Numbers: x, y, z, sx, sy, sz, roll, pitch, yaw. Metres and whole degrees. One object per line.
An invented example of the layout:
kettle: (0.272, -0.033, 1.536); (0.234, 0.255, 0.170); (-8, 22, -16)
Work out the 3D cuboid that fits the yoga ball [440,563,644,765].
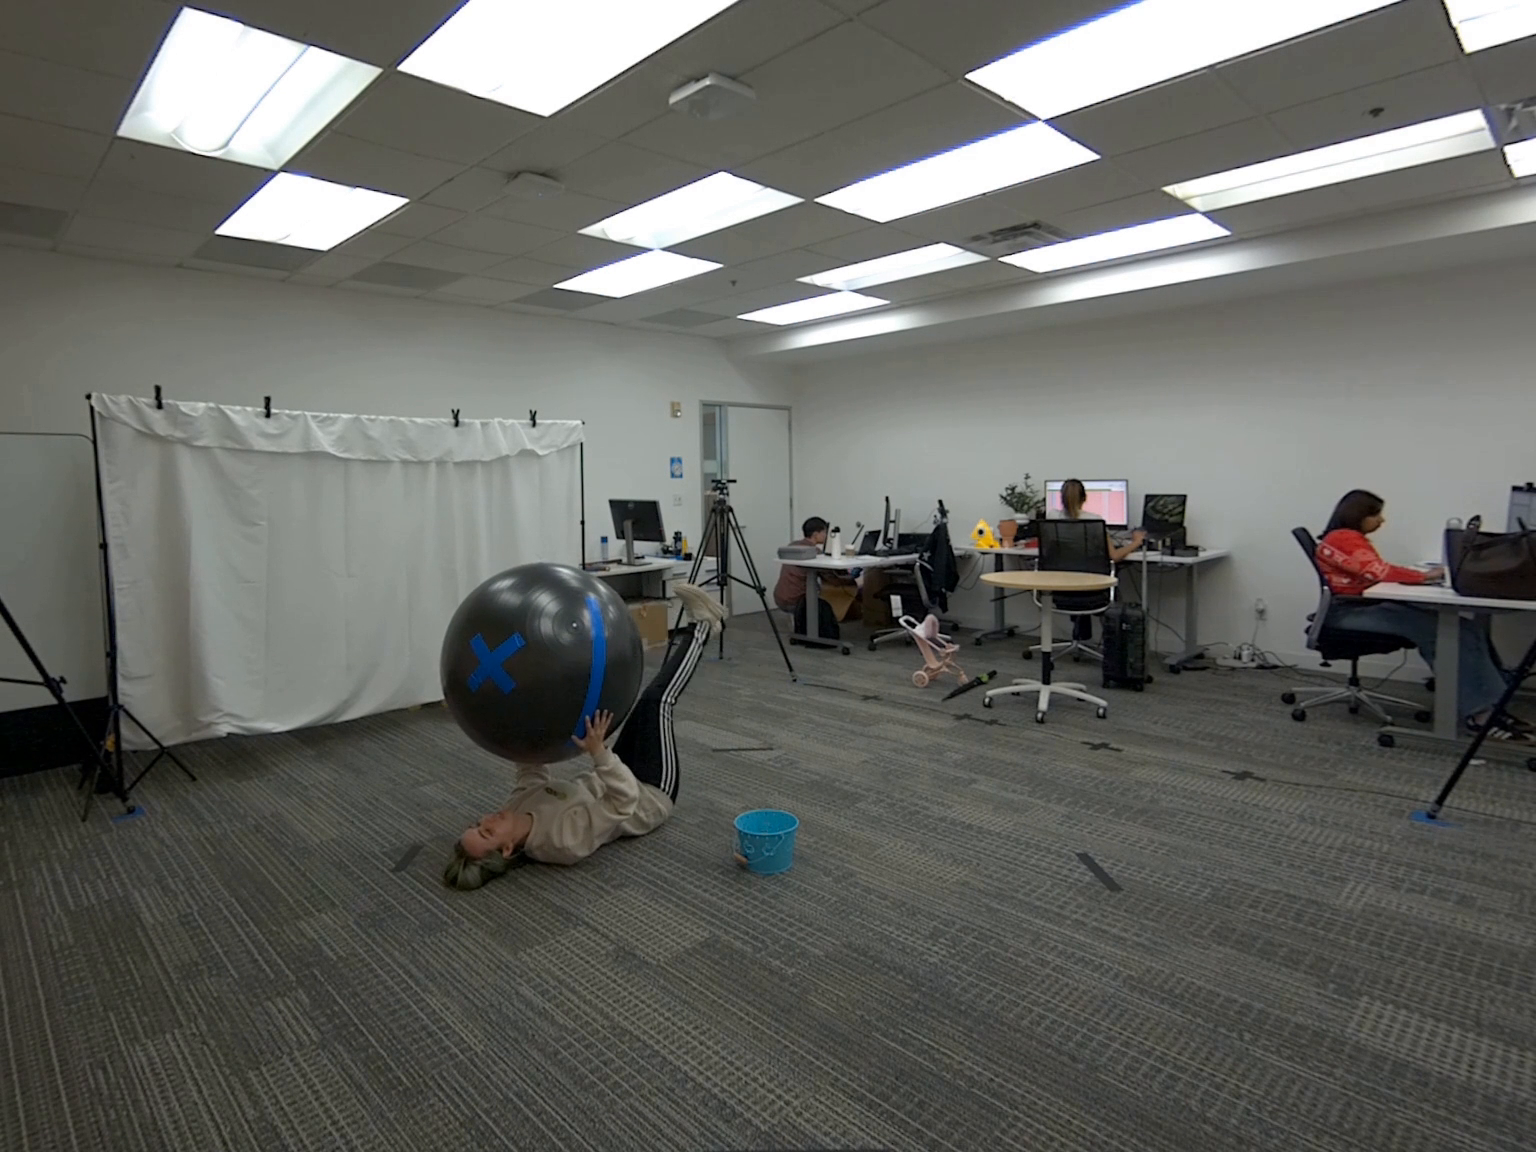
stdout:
yoga ball: (-0.864, 0.329, 3.260); (0.757, 0.755, 0.762); (-1, 5, -2)
